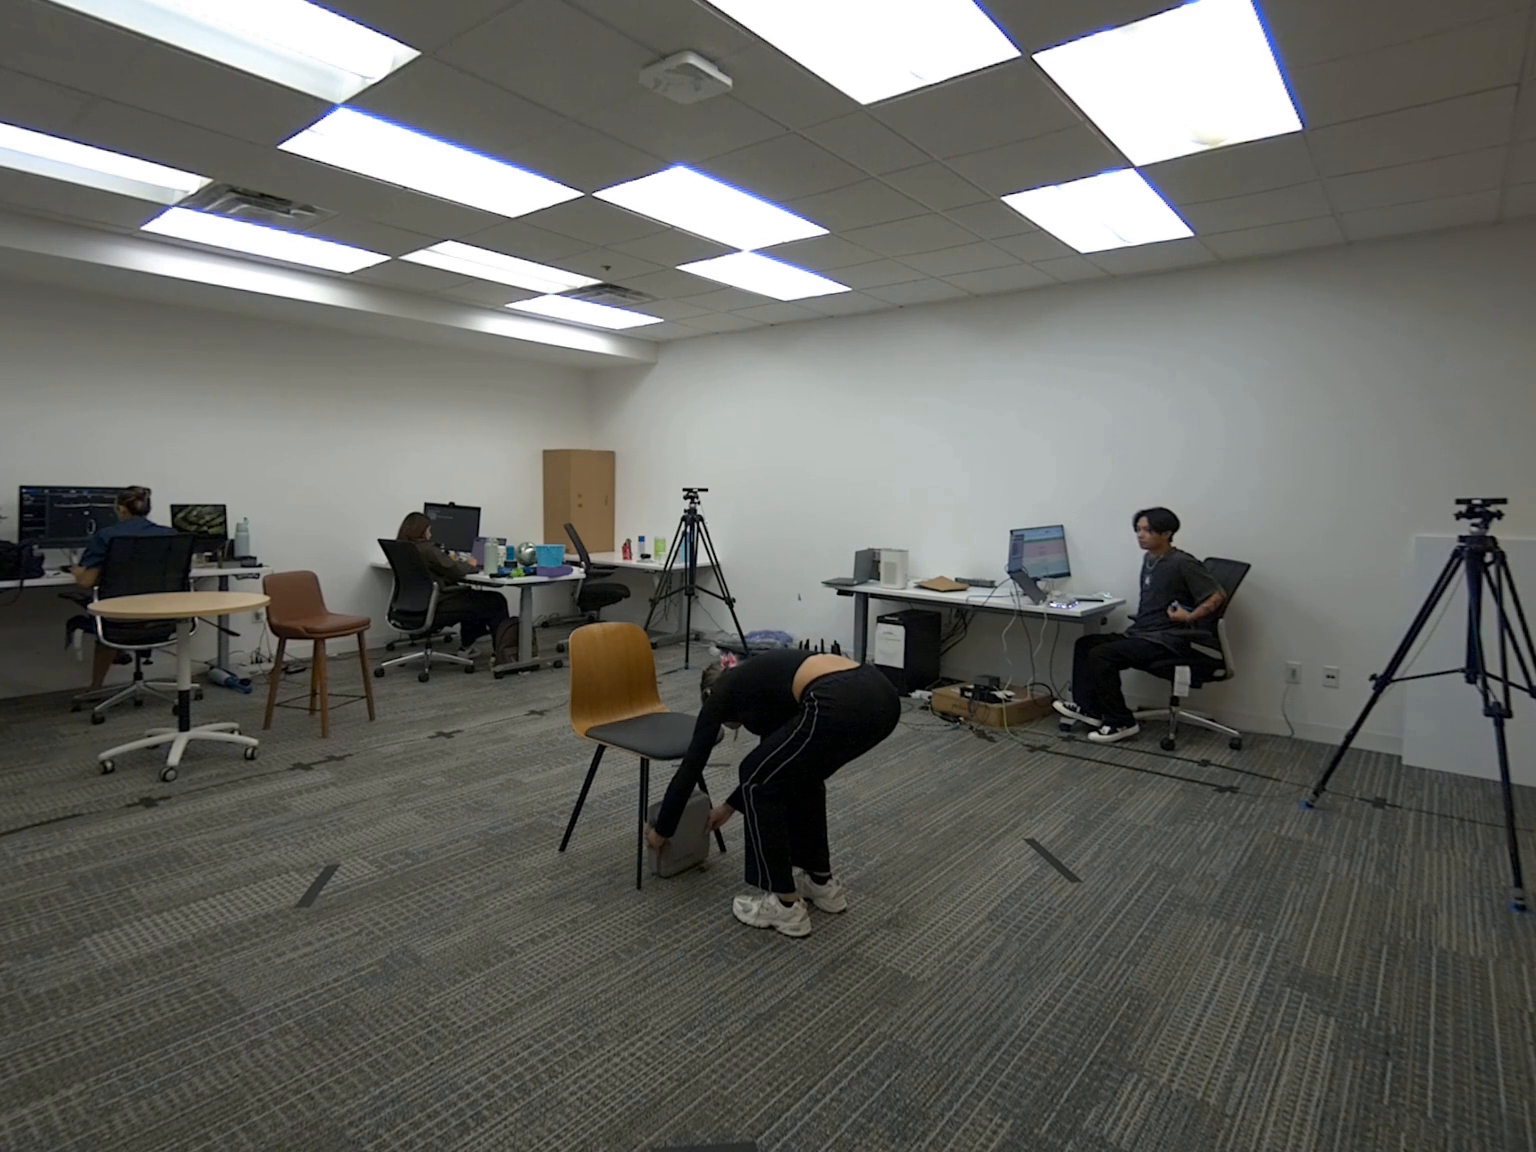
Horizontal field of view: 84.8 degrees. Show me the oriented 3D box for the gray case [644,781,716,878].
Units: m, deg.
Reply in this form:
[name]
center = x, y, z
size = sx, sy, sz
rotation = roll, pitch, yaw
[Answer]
[gray case]
center = -0.324, 0.926, 3.109
size = 0.108, 0.259, 0.249
rotation = 7, 8, 39
